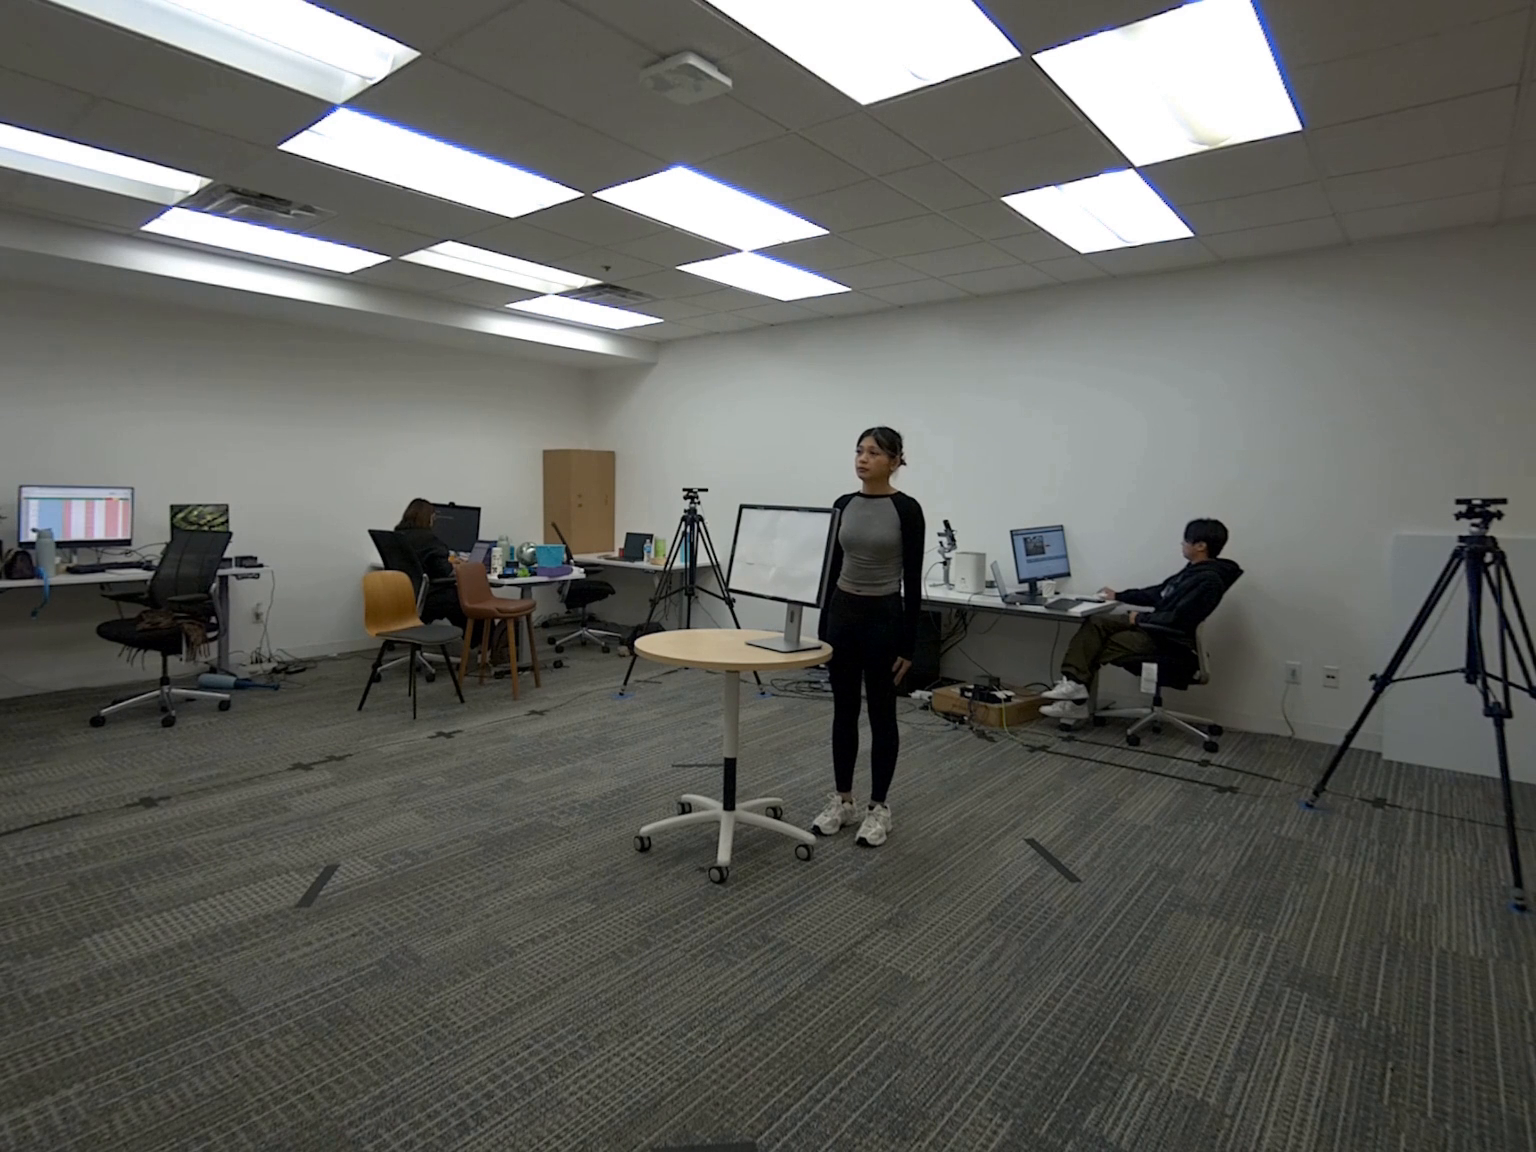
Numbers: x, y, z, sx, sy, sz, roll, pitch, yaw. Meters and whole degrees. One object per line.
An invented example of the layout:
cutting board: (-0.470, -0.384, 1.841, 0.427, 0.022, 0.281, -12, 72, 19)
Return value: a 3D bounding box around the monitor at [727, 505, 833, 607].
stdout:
monitor: (0.058, 0.000, 3.277, 0.181, 0.521, 0.557, -3, 5, -40)
